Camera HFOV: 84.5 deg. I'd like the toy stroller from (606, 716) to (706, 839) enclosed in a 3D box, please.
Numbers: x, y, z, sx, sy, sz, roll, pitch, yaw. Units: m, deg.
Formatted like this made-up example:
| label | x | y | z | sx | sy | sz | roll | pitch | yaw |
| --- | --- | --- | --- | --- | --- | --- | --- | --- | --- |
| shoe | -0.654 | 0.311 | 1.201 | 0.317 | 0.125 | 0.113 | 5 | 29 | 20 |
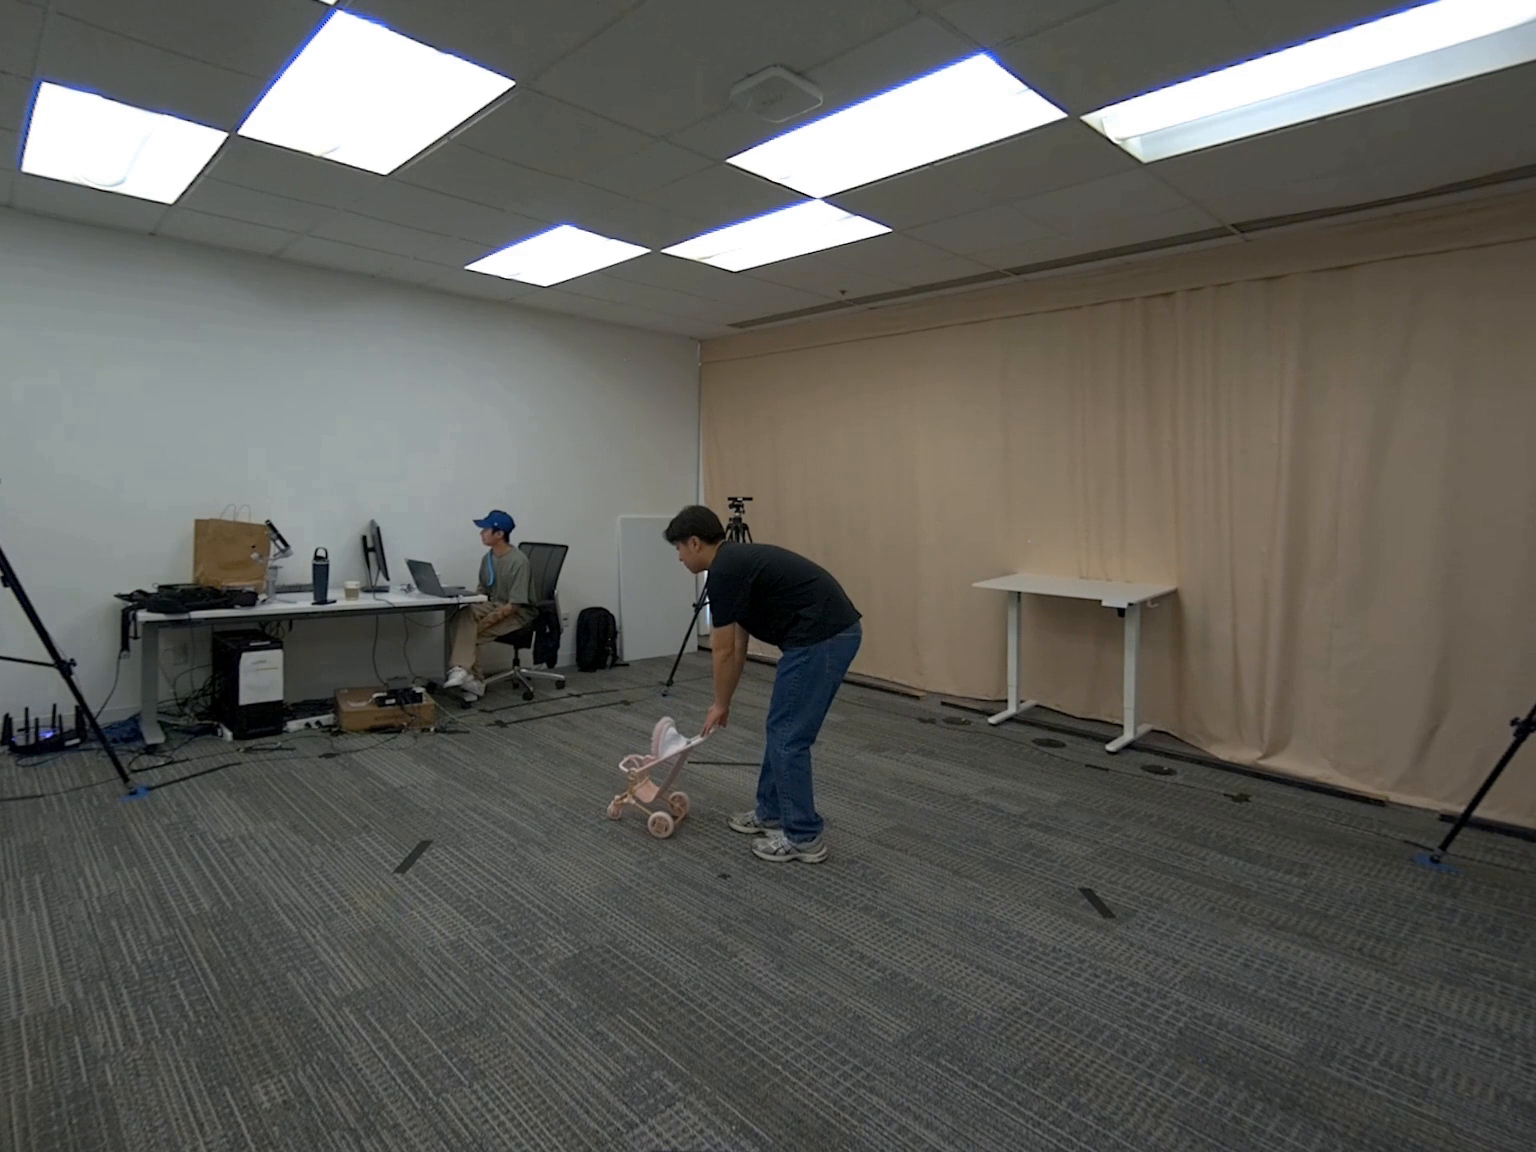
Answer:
| label | x | y | z | sx | sy | sz | roll | pitch | yaw |
| --- | --- | --- | --- | --- | --- | --- | --- | --- | --- |
| toy stroller | -0.478 | 0.839 | 3.571 | 0.347 | 0.533 | 0.278 | 20 | 8 | 16 |
